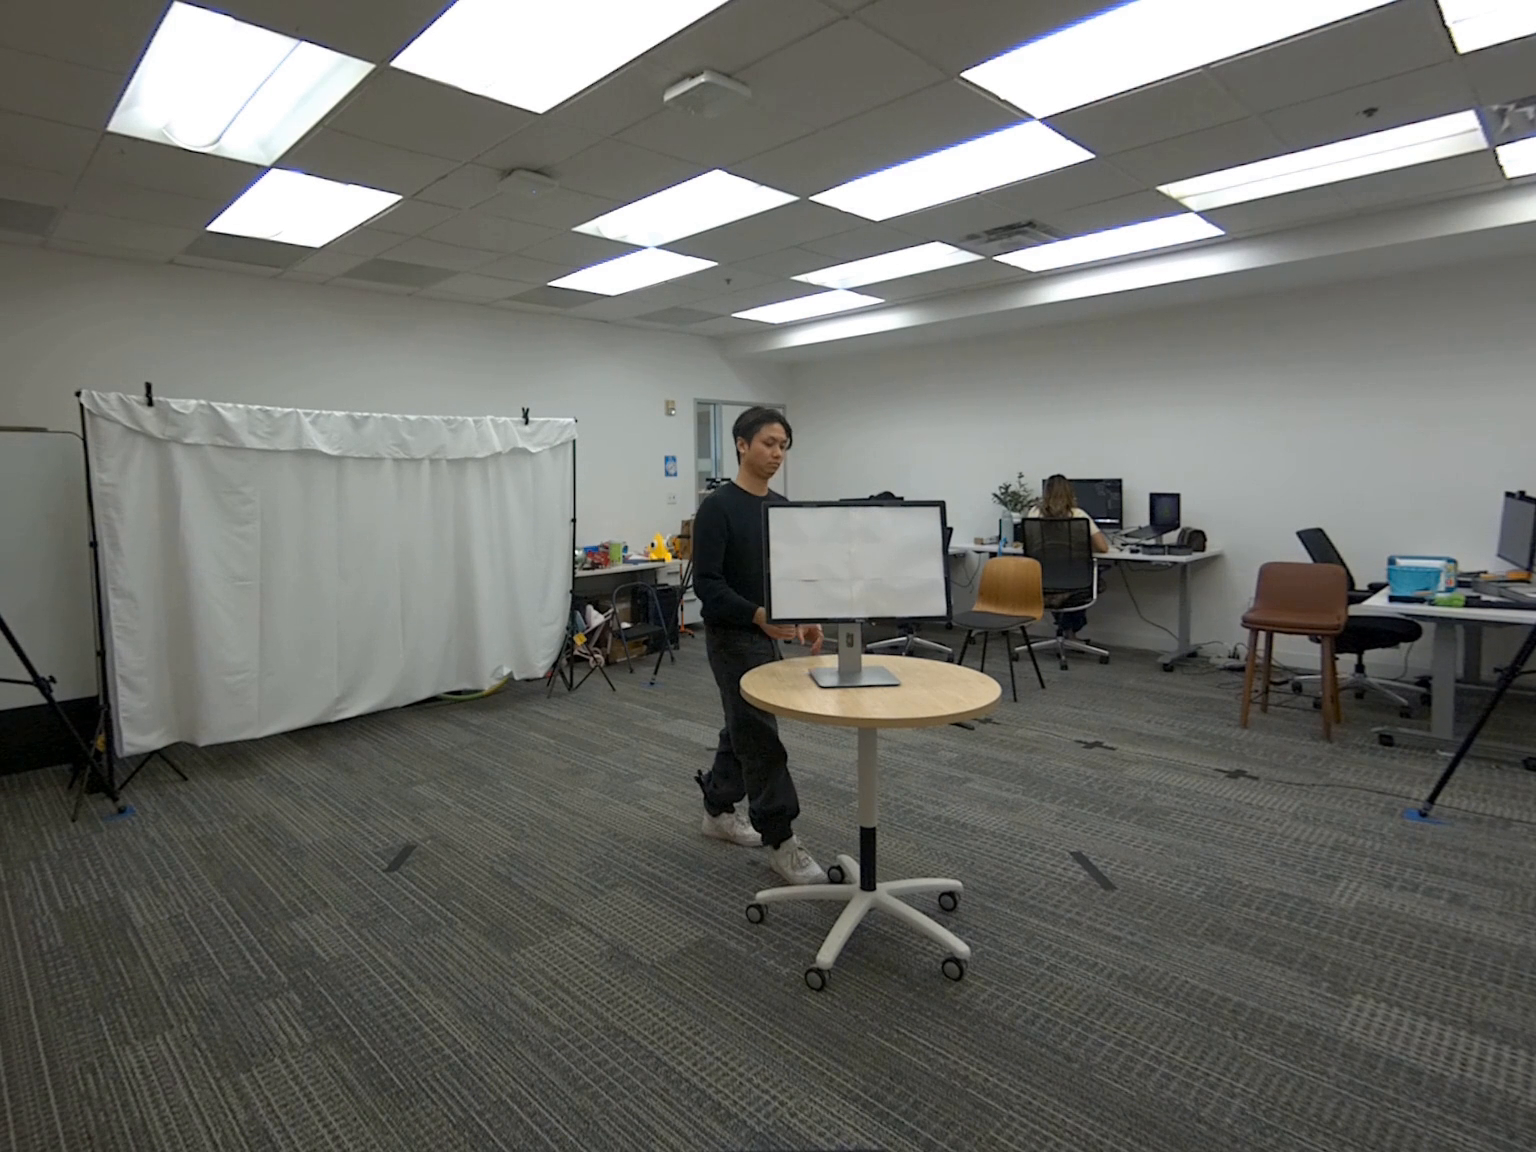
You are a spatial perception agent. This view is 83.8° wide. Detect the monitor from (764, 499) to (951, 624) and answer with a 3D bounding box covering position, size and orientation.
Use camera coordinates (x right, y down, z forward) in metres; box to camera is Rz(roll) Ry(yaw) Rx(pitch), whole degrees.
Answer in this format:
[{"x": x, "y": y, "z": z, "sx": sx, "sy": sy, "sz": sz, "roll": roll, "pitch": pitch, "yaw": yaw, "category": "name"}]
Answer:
[{"x": 0.256, "y": 0.050, "z": 2.577, "sx": 0.526, "sy": 0.512, "sz": 0.177, "roll": -1, "pitch": 8, "yaw": -8, "category": "monitor"}]
